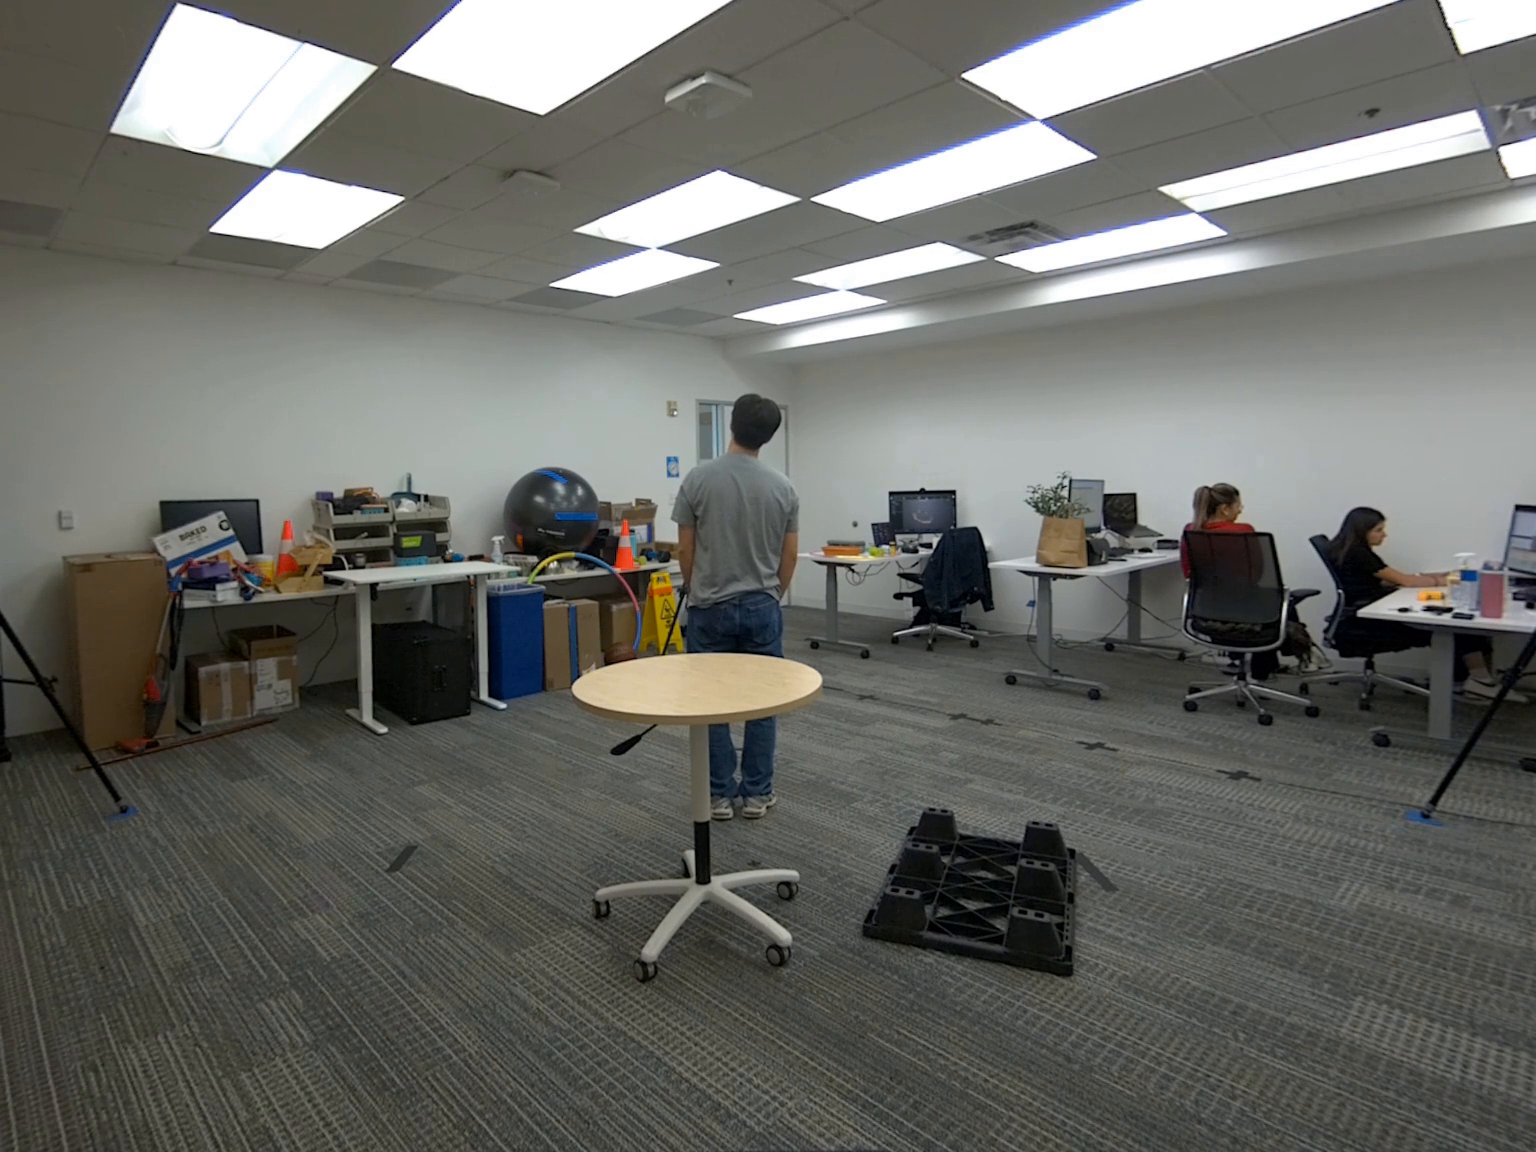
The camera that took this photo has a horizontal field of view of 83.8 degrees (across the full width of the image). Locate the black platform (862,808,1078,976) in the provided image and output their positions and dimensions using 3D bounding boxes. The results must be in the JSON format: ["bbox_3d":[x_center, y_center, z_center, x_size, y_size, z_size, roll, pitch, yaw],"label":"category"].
[{"bbox_3d":[0.704,0.997,2.847,0.618,0.143,0.793,2,7,21],"label":"black platform"}]
